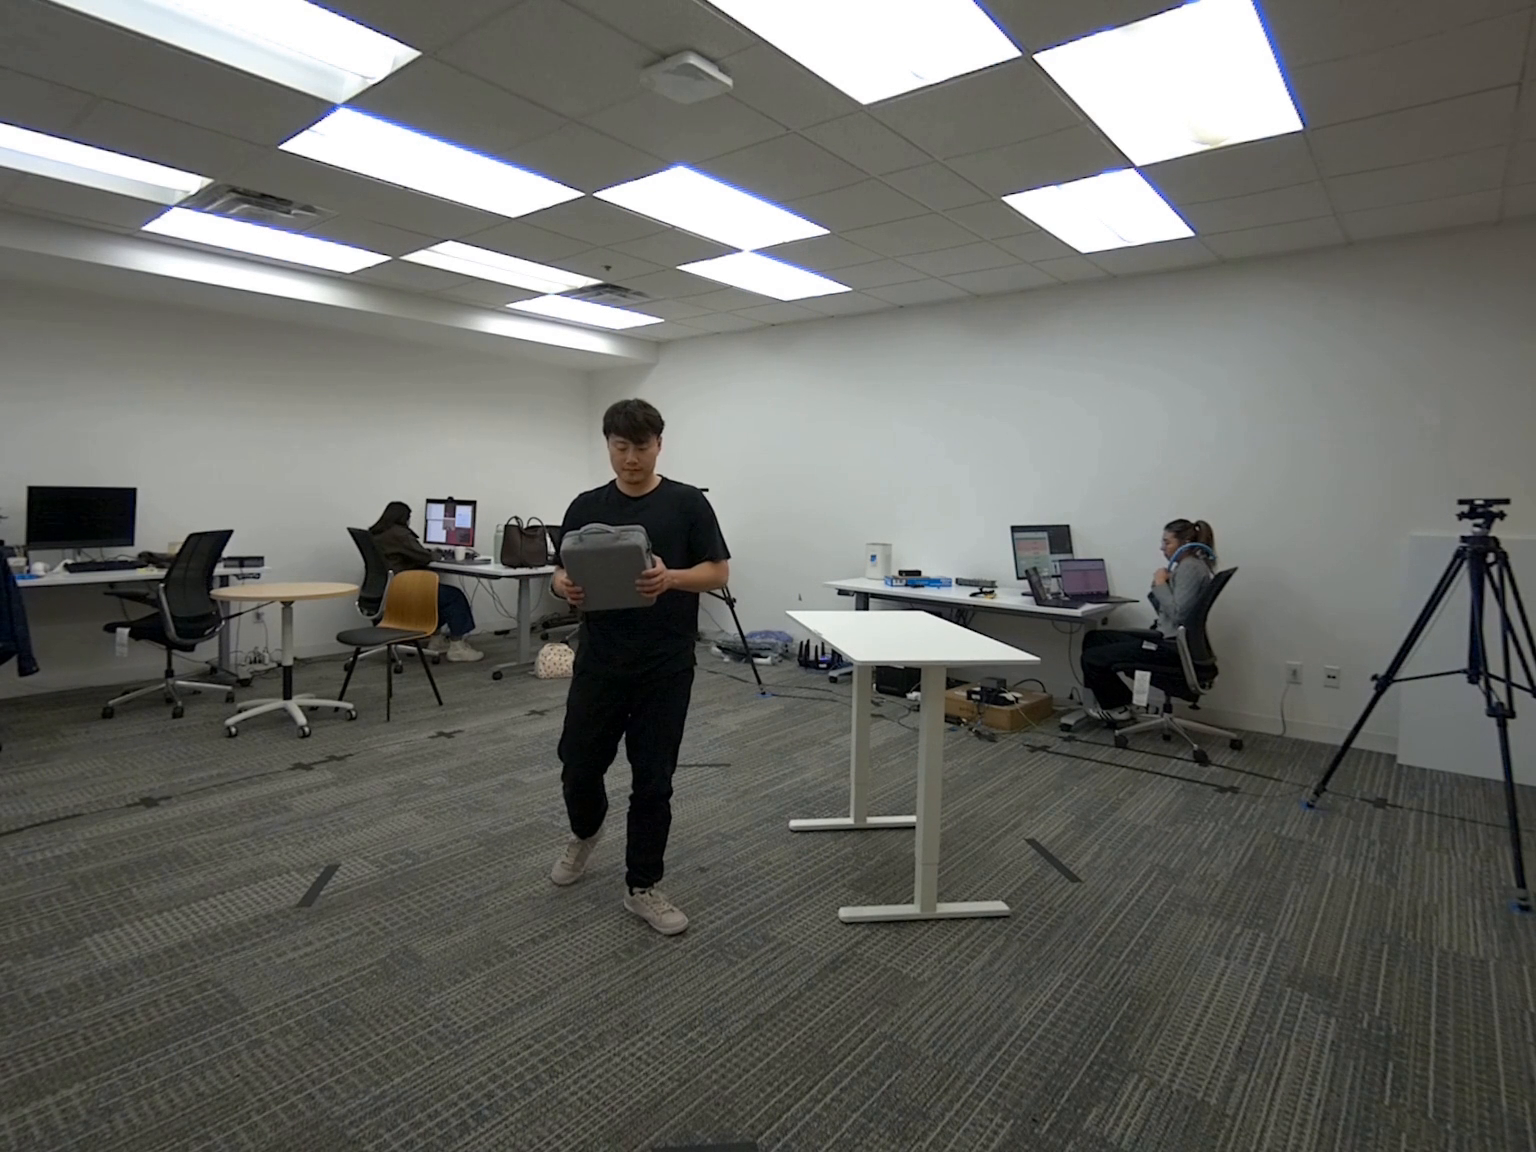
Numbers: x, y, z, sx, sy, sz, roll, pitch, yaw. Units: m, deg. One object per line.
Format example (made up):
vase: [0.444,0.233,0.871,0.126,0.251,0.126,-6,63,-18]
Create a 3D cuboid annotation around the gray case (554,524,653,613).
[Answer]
gray case: [-0.476,-0.029,2.532,0.259,0.252,0.107,-4,40,7]
